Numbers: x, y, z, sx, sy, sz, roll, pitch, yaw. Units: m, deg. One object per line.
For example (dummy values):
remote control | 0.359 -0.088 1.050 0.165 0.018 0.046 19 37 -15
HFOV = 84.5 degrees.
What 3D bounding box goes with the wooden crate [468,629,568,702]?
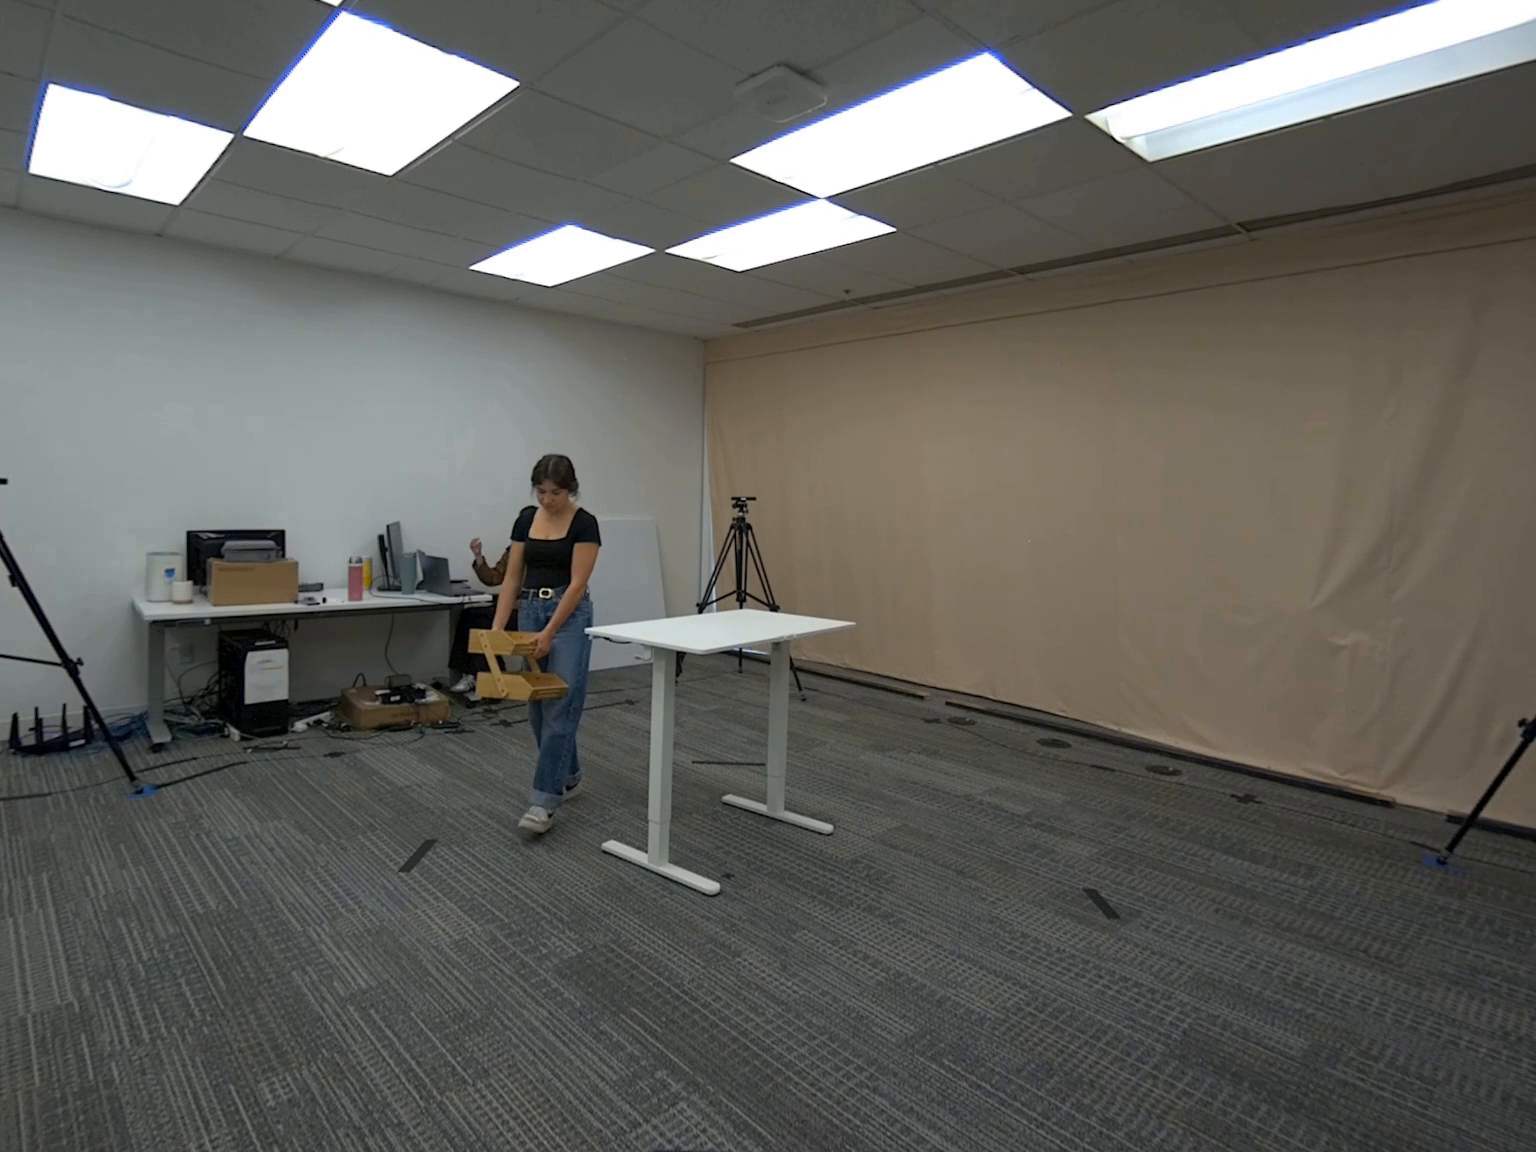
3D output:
wooden crate | -1.018 0.360 3.432 0.305 0.274 0.319 2 -6 14
